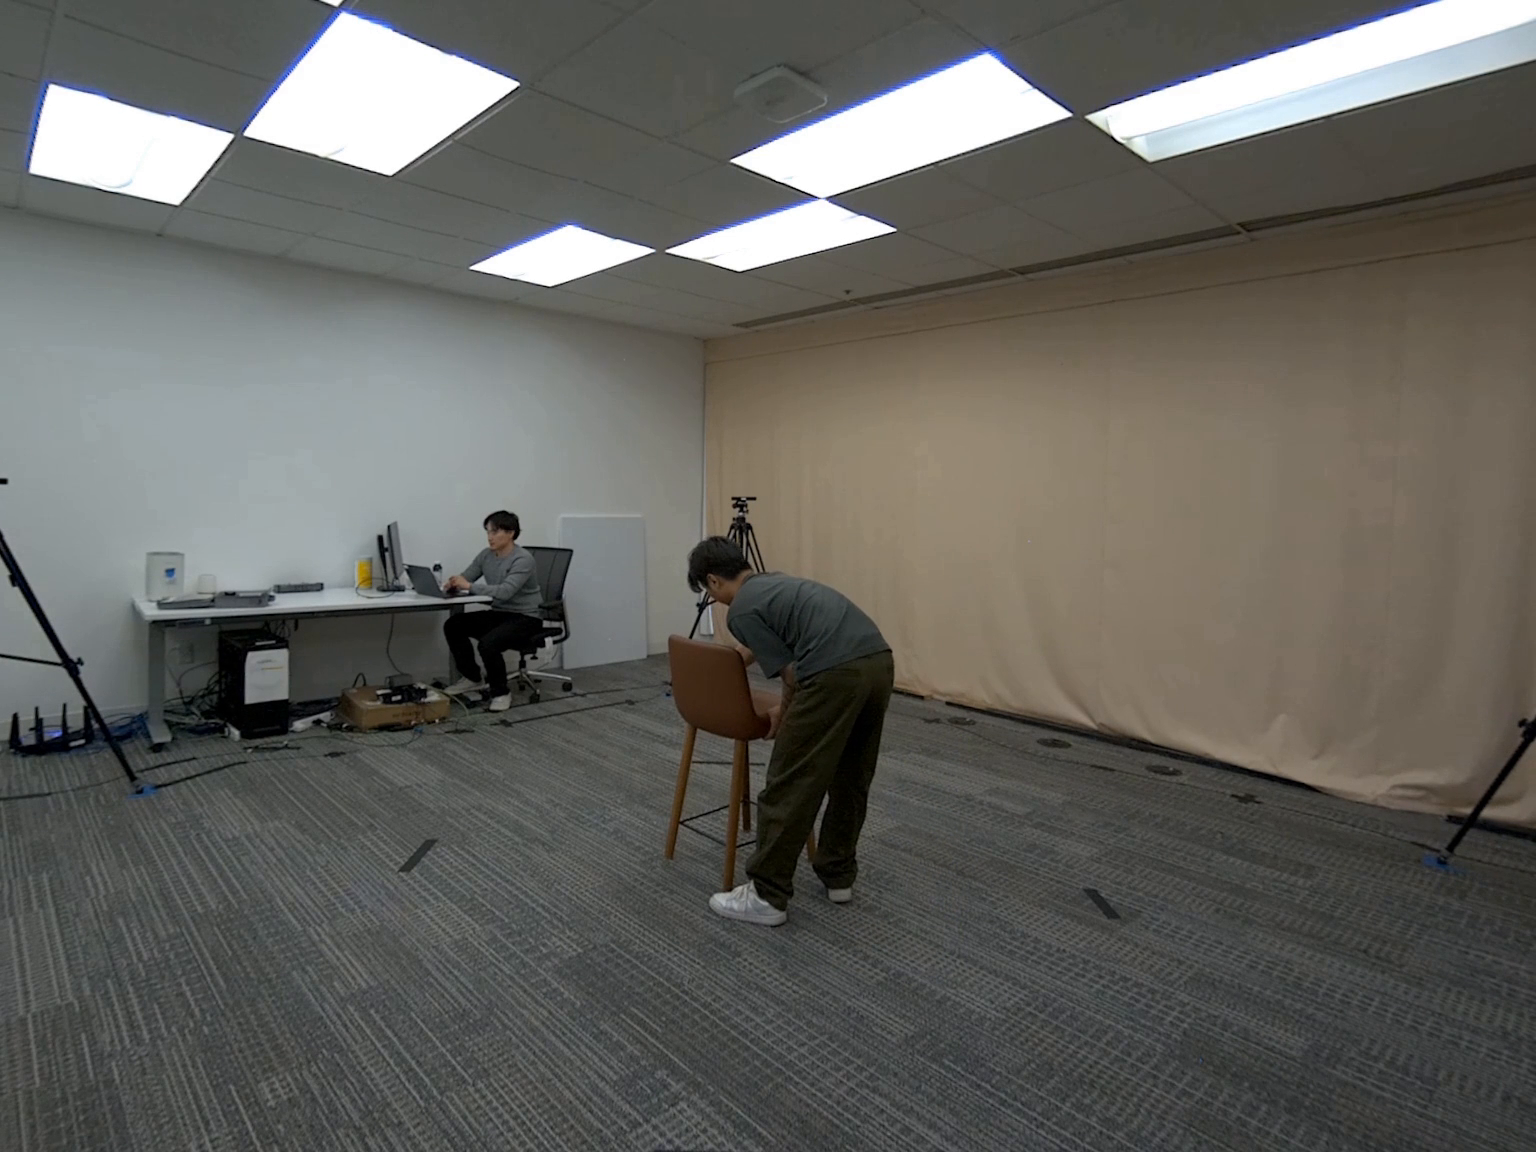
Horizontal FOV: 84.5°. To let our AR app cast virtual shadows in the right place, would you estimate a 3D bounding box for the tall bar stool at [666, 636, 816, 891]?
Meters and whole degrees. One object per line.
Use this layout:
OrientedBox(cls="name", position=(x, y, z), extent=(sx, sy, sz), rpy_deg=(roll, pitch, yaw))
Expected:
OrientedBox(cls="tall bar stool", position=(-0.112, 0.659, 3.234), extent=(0.457, 0.887, 0.468), rpy_deg=(-2, 5, -43))
